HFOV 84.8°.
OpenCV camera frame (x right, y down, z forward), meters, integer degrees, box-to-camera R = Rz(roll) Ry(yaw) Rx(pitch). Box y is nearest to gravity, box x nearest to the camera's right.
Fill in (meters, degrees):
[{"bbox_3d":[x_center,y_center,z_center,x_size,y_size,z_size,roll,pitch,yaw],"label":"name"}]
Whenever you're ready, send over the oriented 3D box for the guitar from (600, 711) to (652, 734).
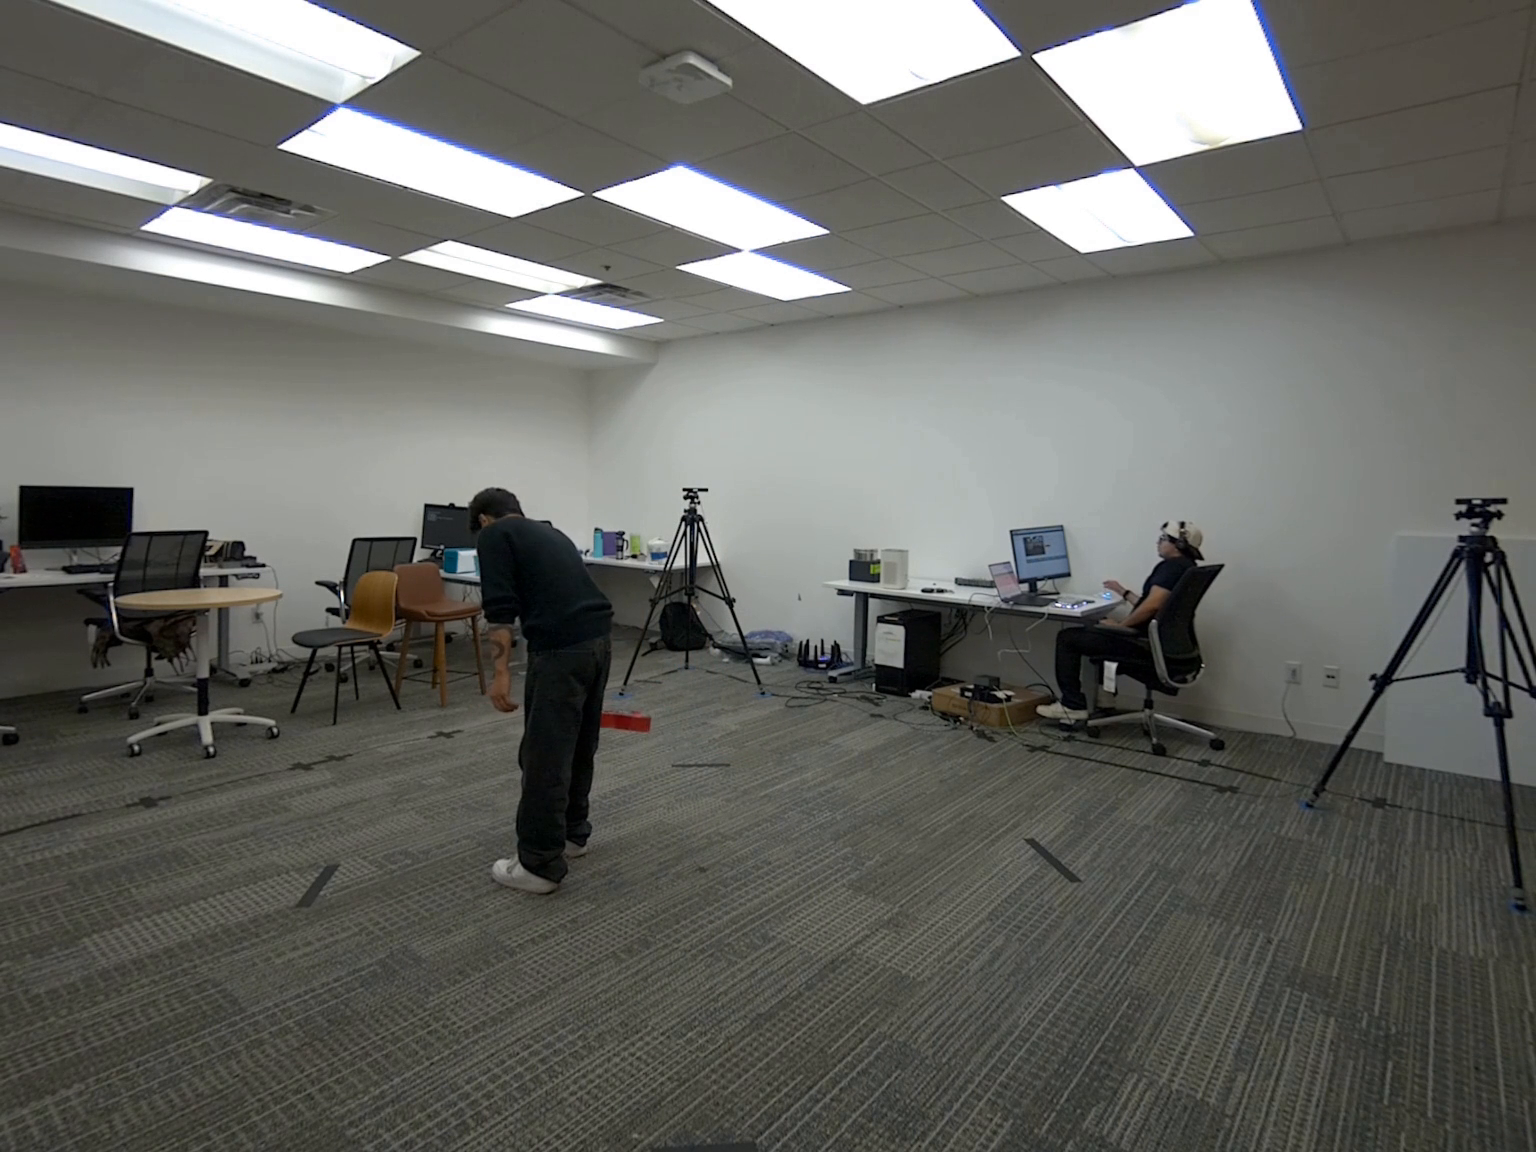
[{"bbox_3d":[-0.733,0.562,3.428,0.493,0.071,0.194,7,-5,-9],"label":"guitar"}]
